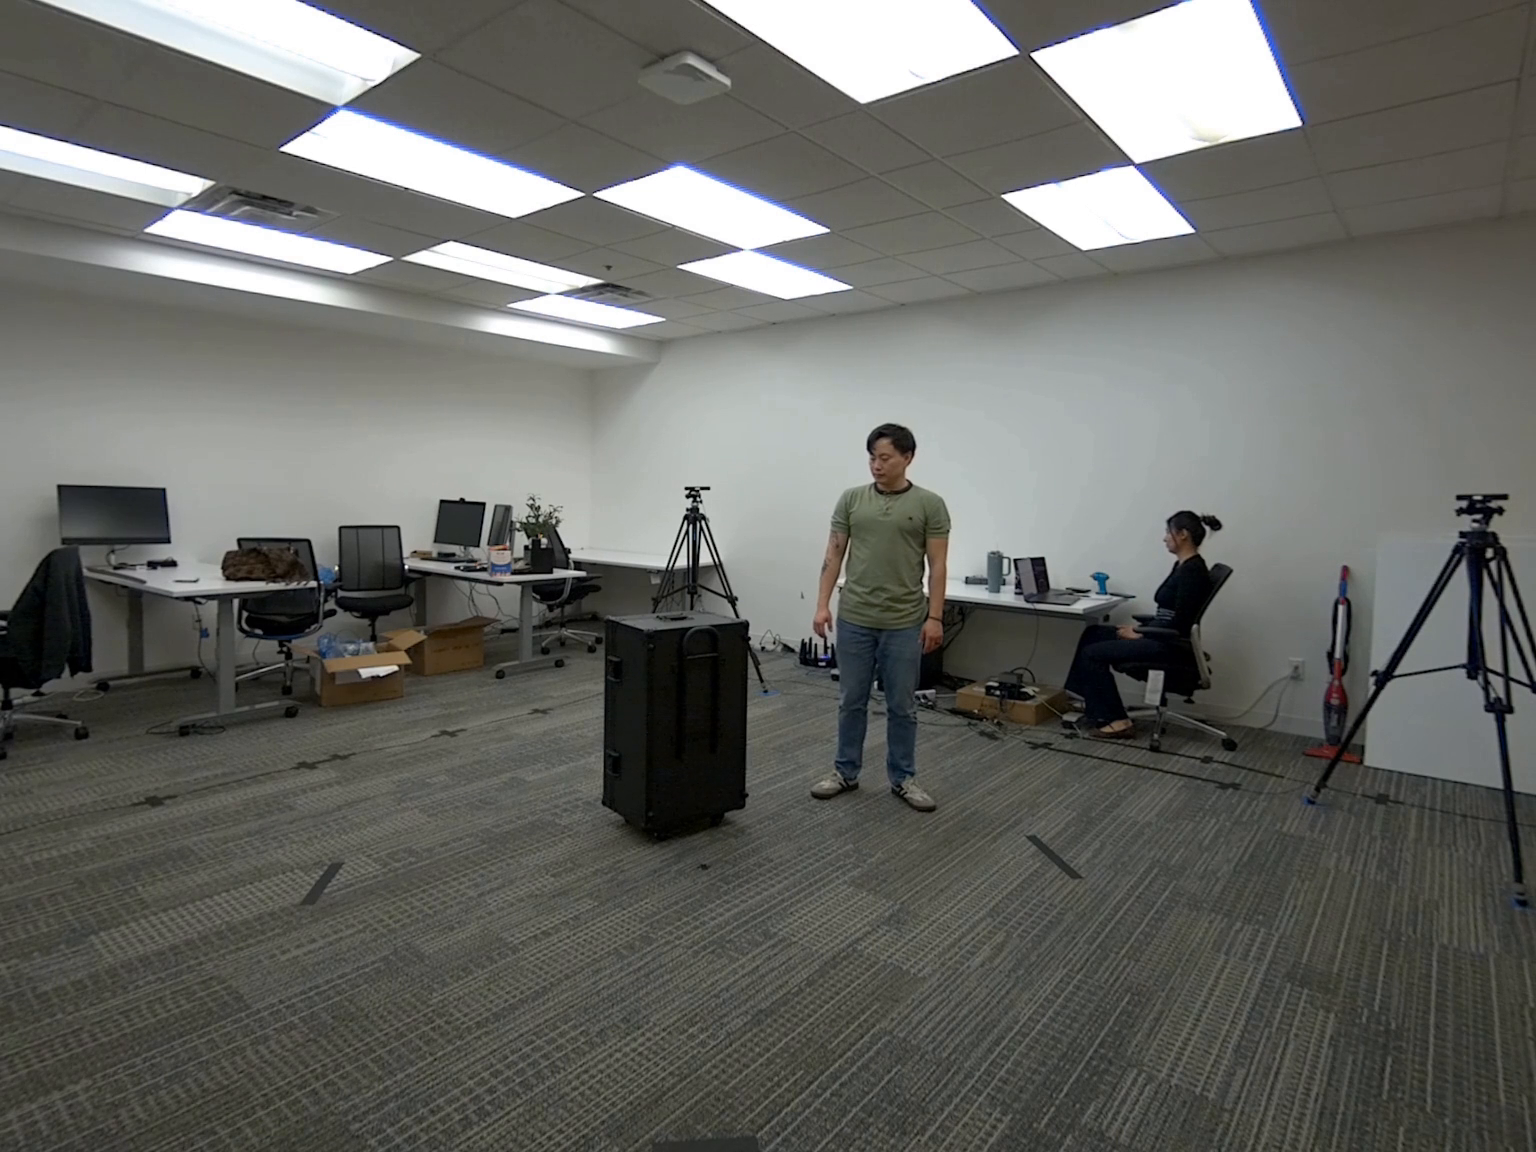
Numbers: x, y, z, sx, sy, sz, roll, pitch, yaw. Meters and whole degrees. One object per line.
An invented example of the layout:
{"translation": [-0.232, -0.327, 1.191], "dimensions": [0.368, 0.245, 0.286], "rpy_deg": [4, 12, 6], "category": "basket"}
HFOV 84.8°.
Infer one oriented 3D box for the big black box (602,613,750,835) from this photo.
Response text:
{"translation": [-0.383, 0.599, 3.498], "dimensions": [0.506, 0.858, 0.409], "rpy_deg": [-2, 5, -37], "category": "big black box"}
